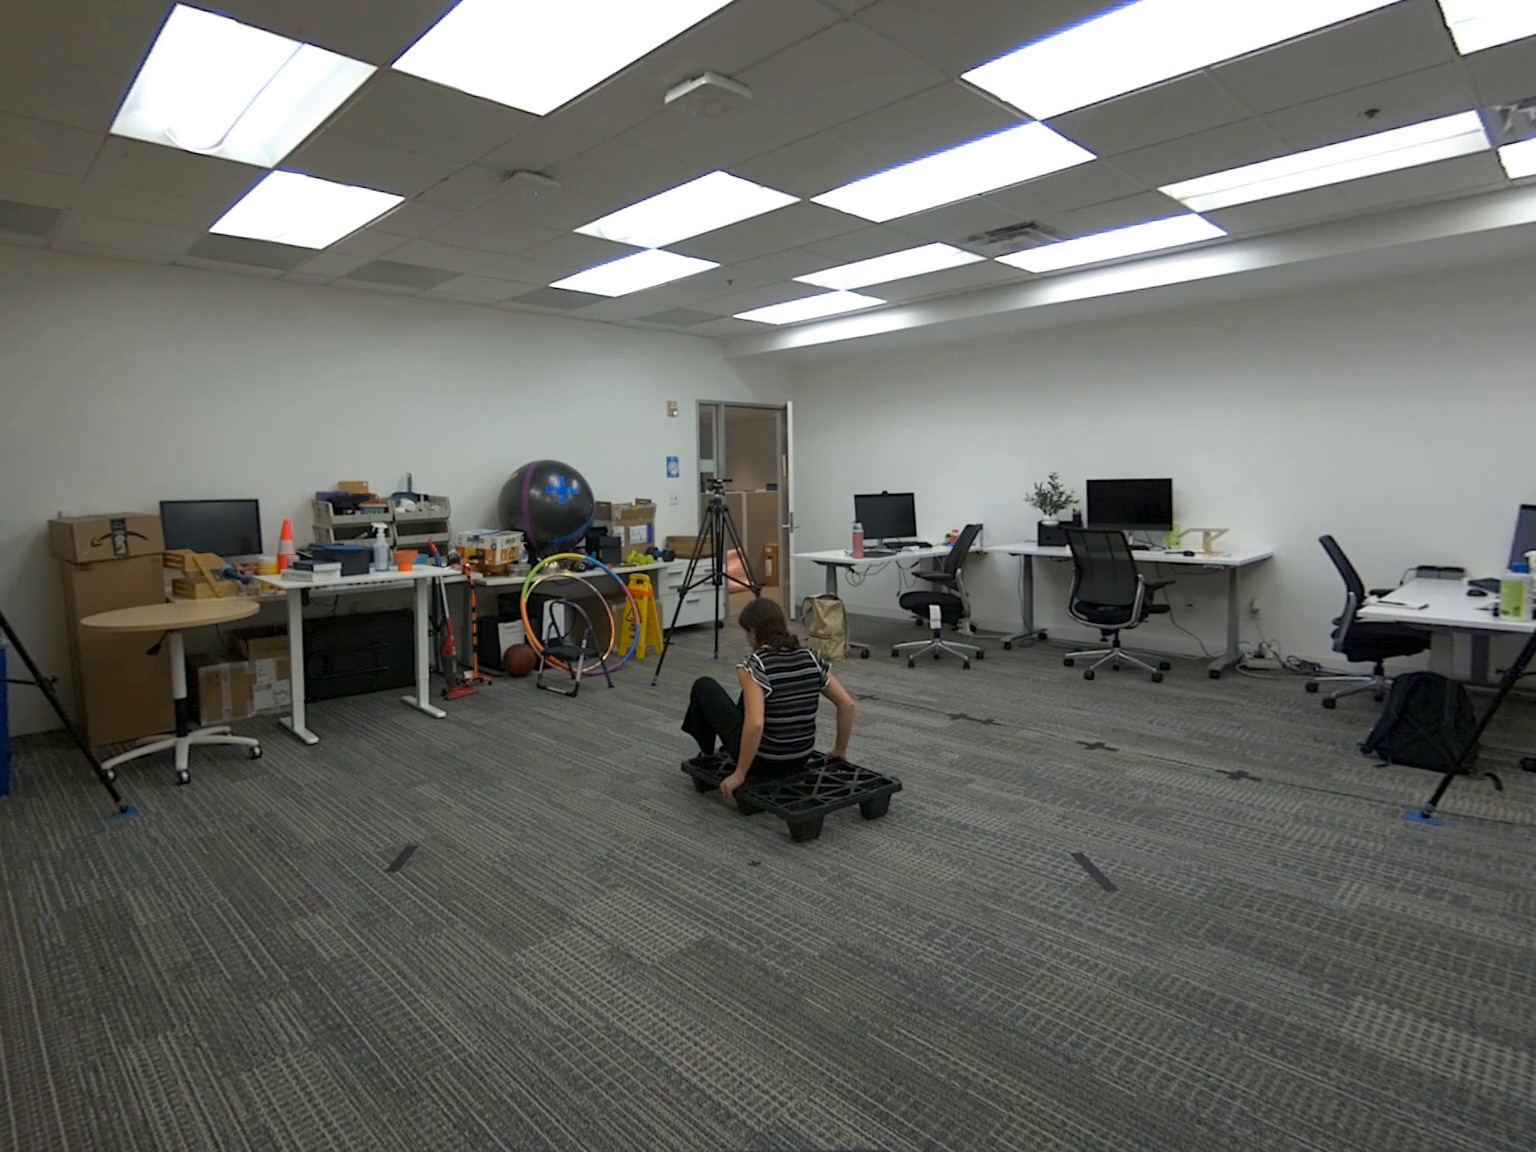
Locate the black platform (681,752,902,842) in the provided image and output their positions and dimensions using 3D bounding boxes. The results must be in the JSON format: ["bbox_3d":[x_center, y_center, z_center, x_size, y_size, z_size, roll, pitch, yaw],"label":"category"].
[{"bbox_3d":[0.085,0.908,3.692,0.589,0.143,0.830,-4,7,-36],"label":"black platform"}]
